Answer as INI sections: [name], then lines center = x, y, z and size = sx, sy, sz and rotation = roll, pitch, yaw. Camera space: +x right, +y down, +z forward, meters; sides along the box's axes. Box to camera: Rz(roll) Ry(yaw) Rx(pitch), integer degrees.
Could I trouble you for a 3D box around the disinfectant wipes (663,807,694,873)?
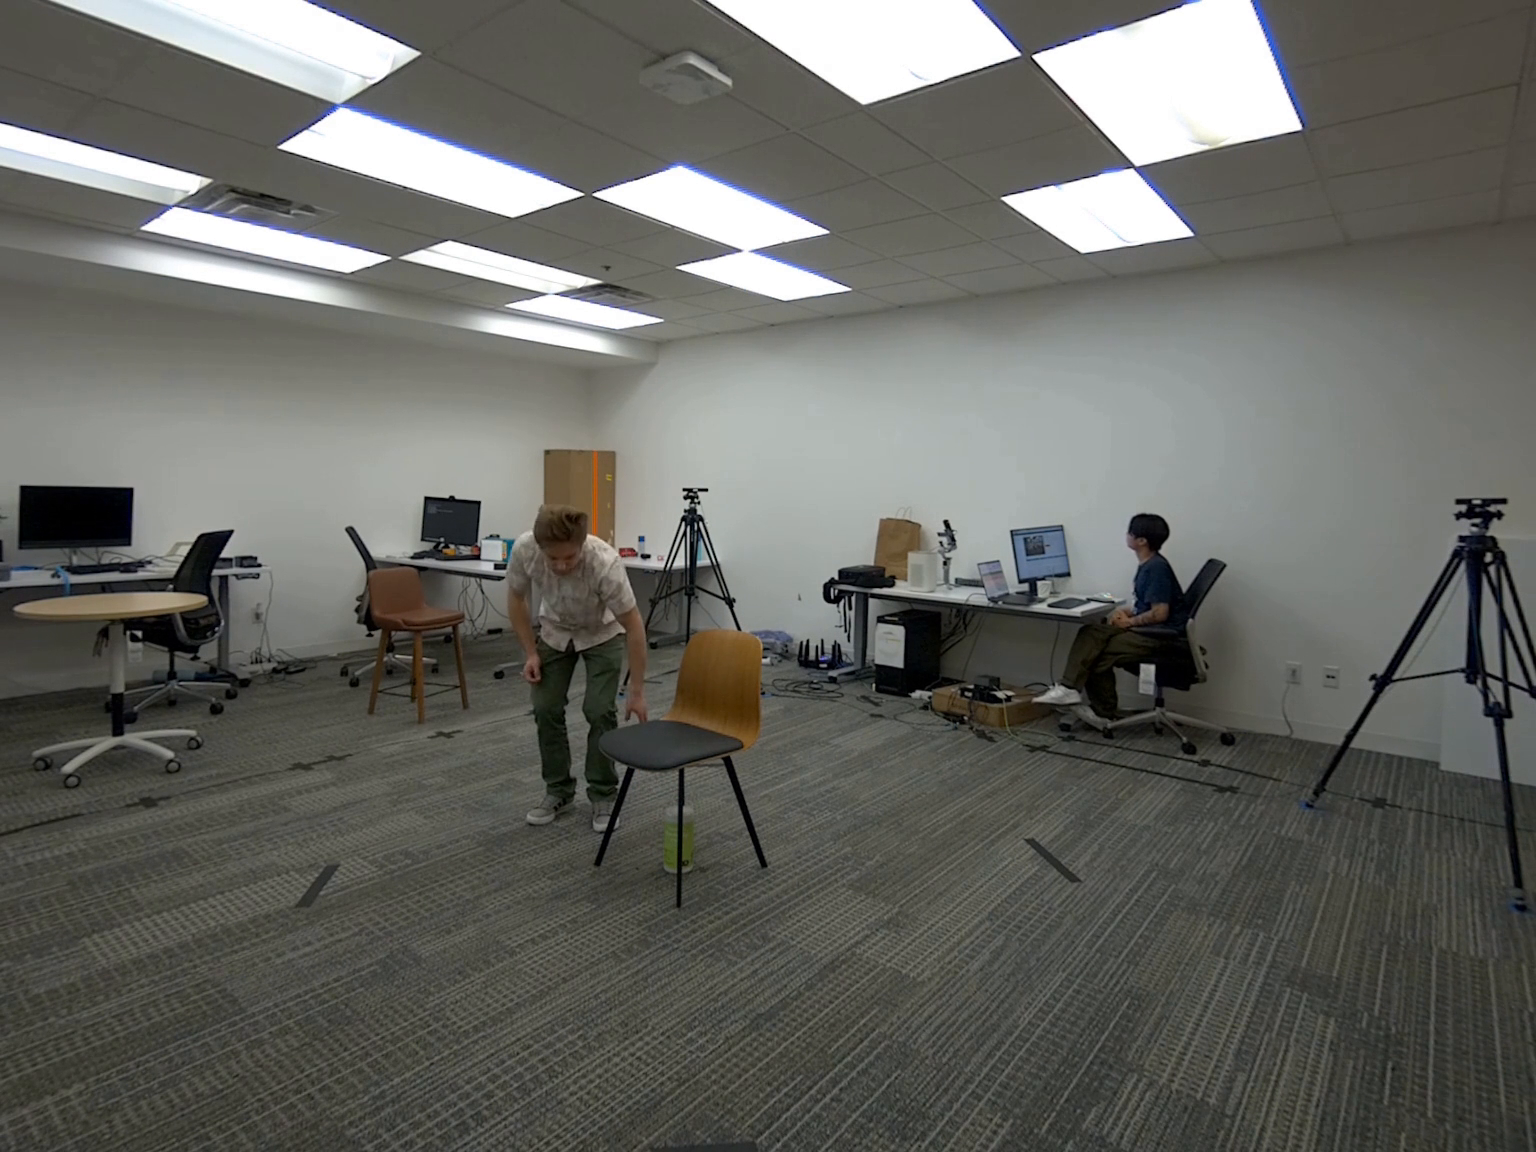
[disinfectant wipes]
center = -0.338, 0.971, 3.116
size = 0.117, 0.217, 0.118
rotation = 4, 2, -2
